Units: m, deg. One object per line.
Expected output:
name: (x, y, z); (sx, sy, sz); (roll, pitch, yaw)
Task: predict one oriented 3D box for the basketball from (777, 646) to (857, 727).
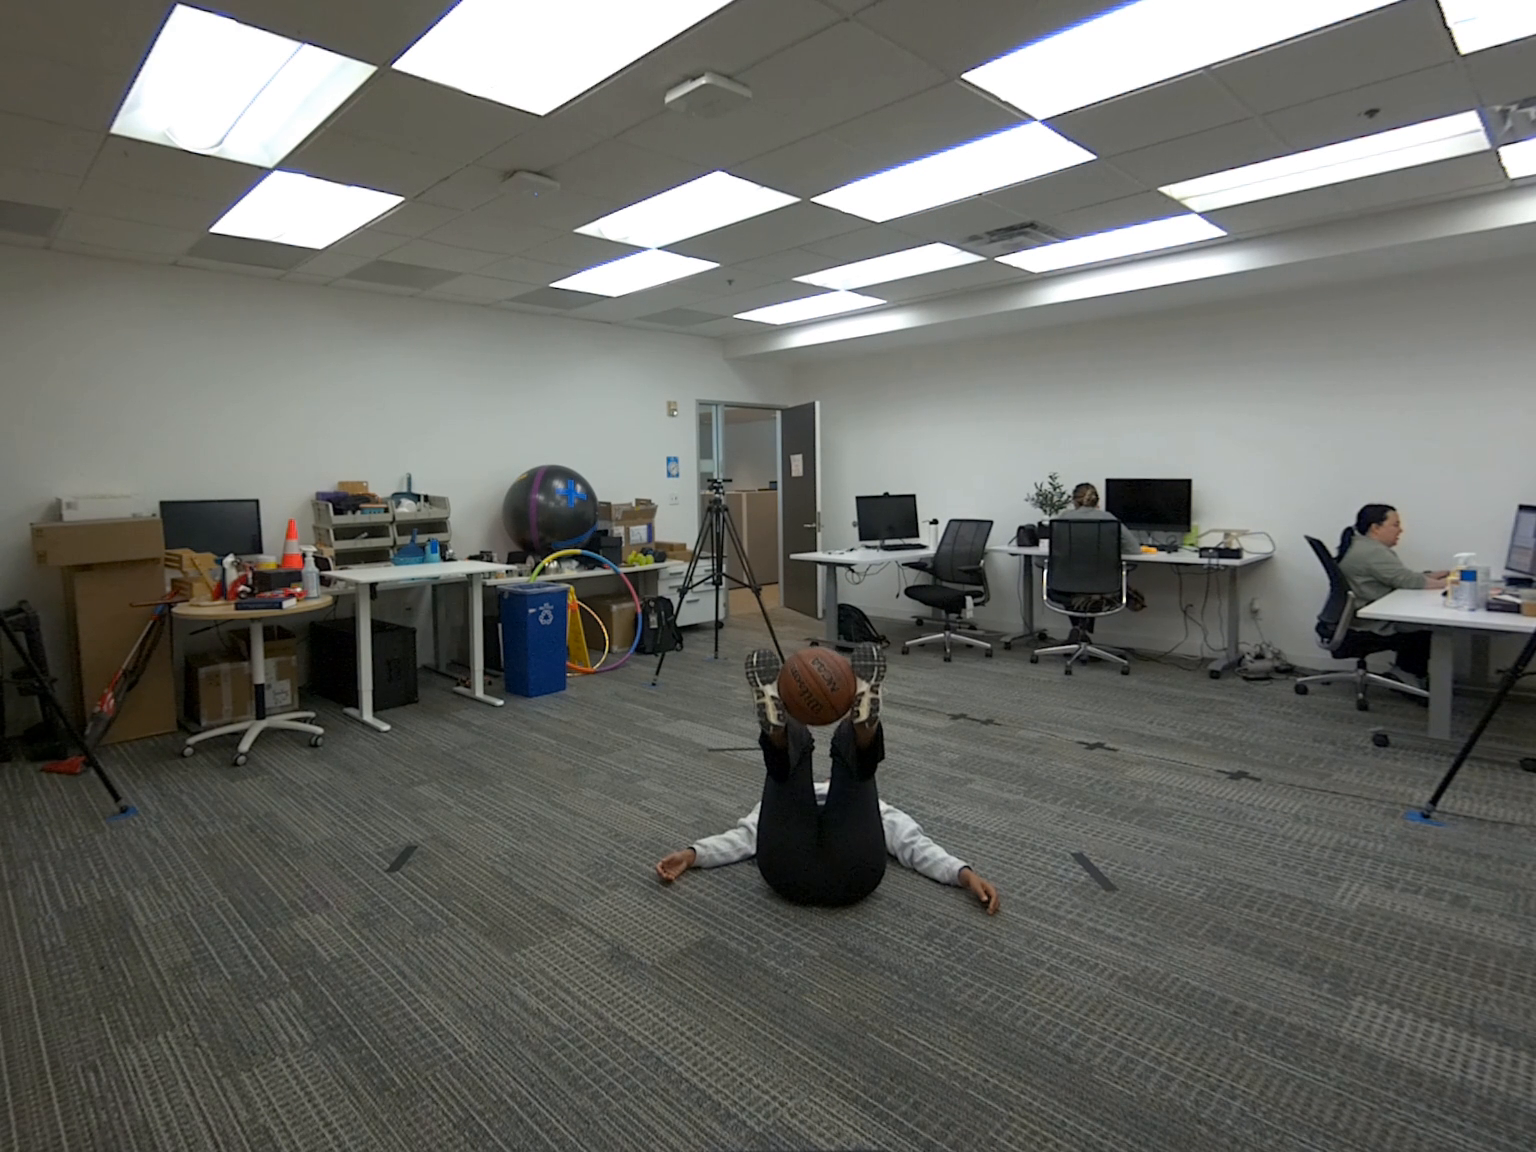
basketball: (0.151, 0.337, 2.590); (0.236, 0.235, 0.236); (-4, 2, -2)
